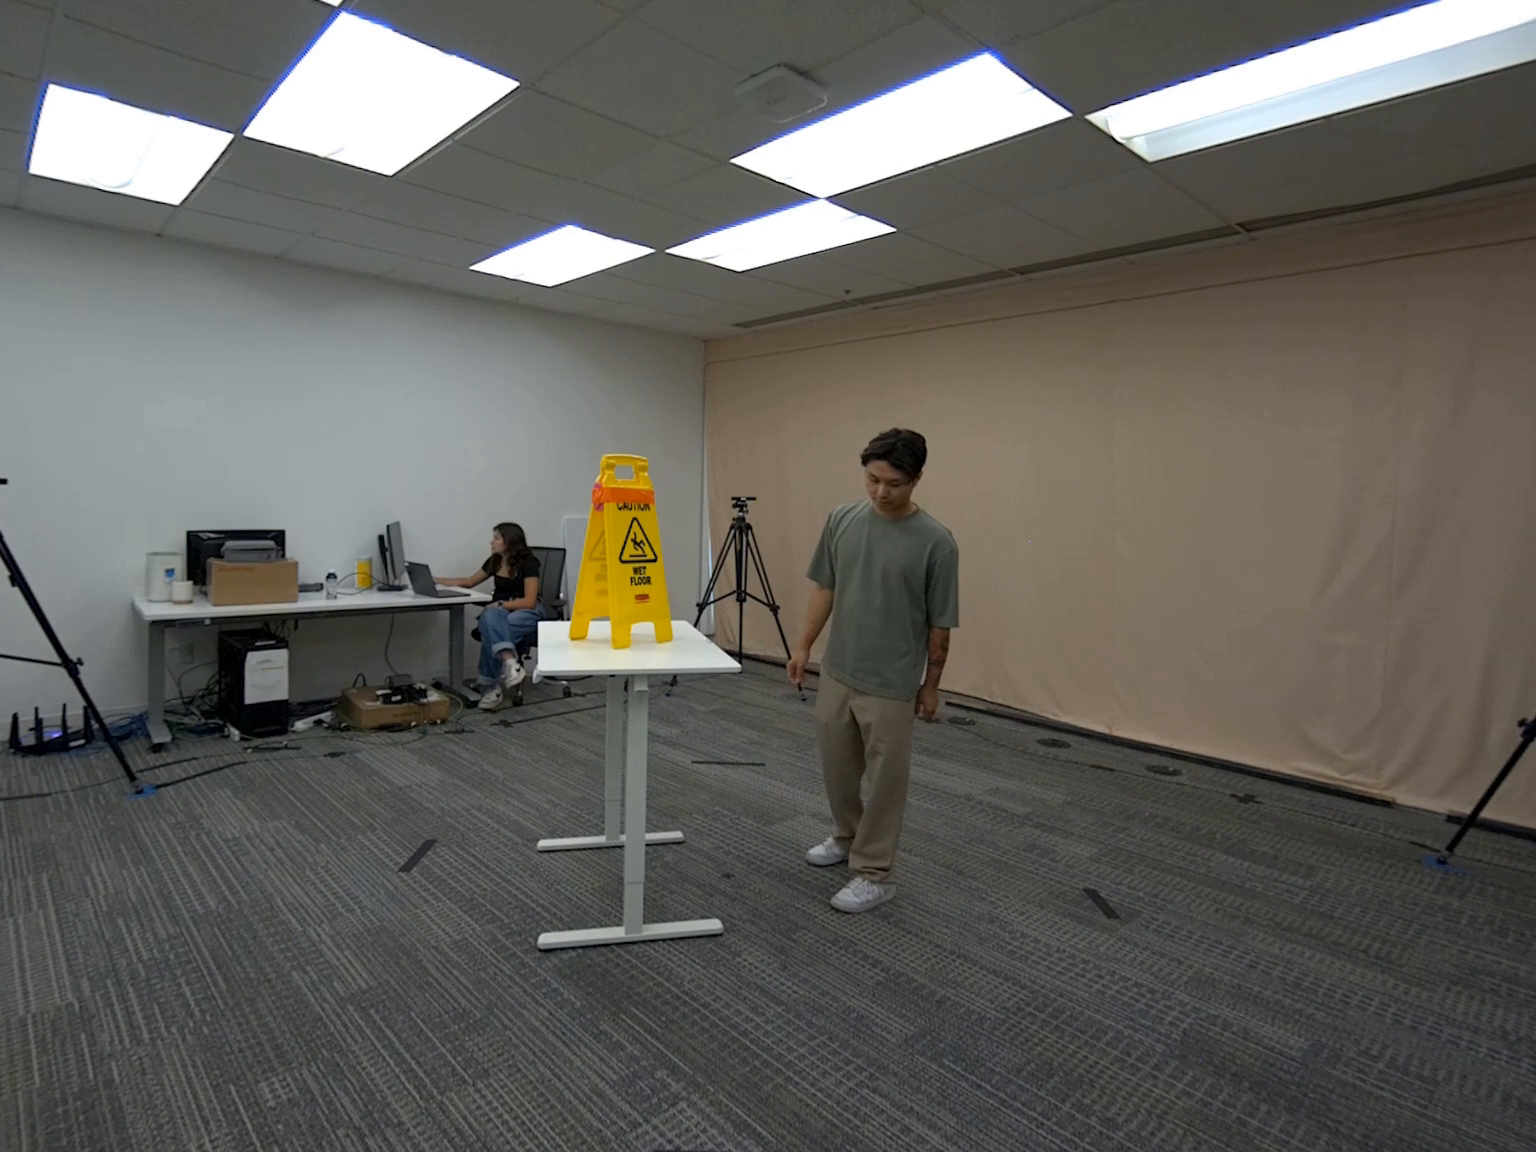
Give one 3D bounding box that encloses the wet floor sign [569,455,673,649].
[{"bbox_3d":[-0.514,-0.094,2.952,0.297,0.645,0.276,3,2,40],"label":"wet floor sign"}]
